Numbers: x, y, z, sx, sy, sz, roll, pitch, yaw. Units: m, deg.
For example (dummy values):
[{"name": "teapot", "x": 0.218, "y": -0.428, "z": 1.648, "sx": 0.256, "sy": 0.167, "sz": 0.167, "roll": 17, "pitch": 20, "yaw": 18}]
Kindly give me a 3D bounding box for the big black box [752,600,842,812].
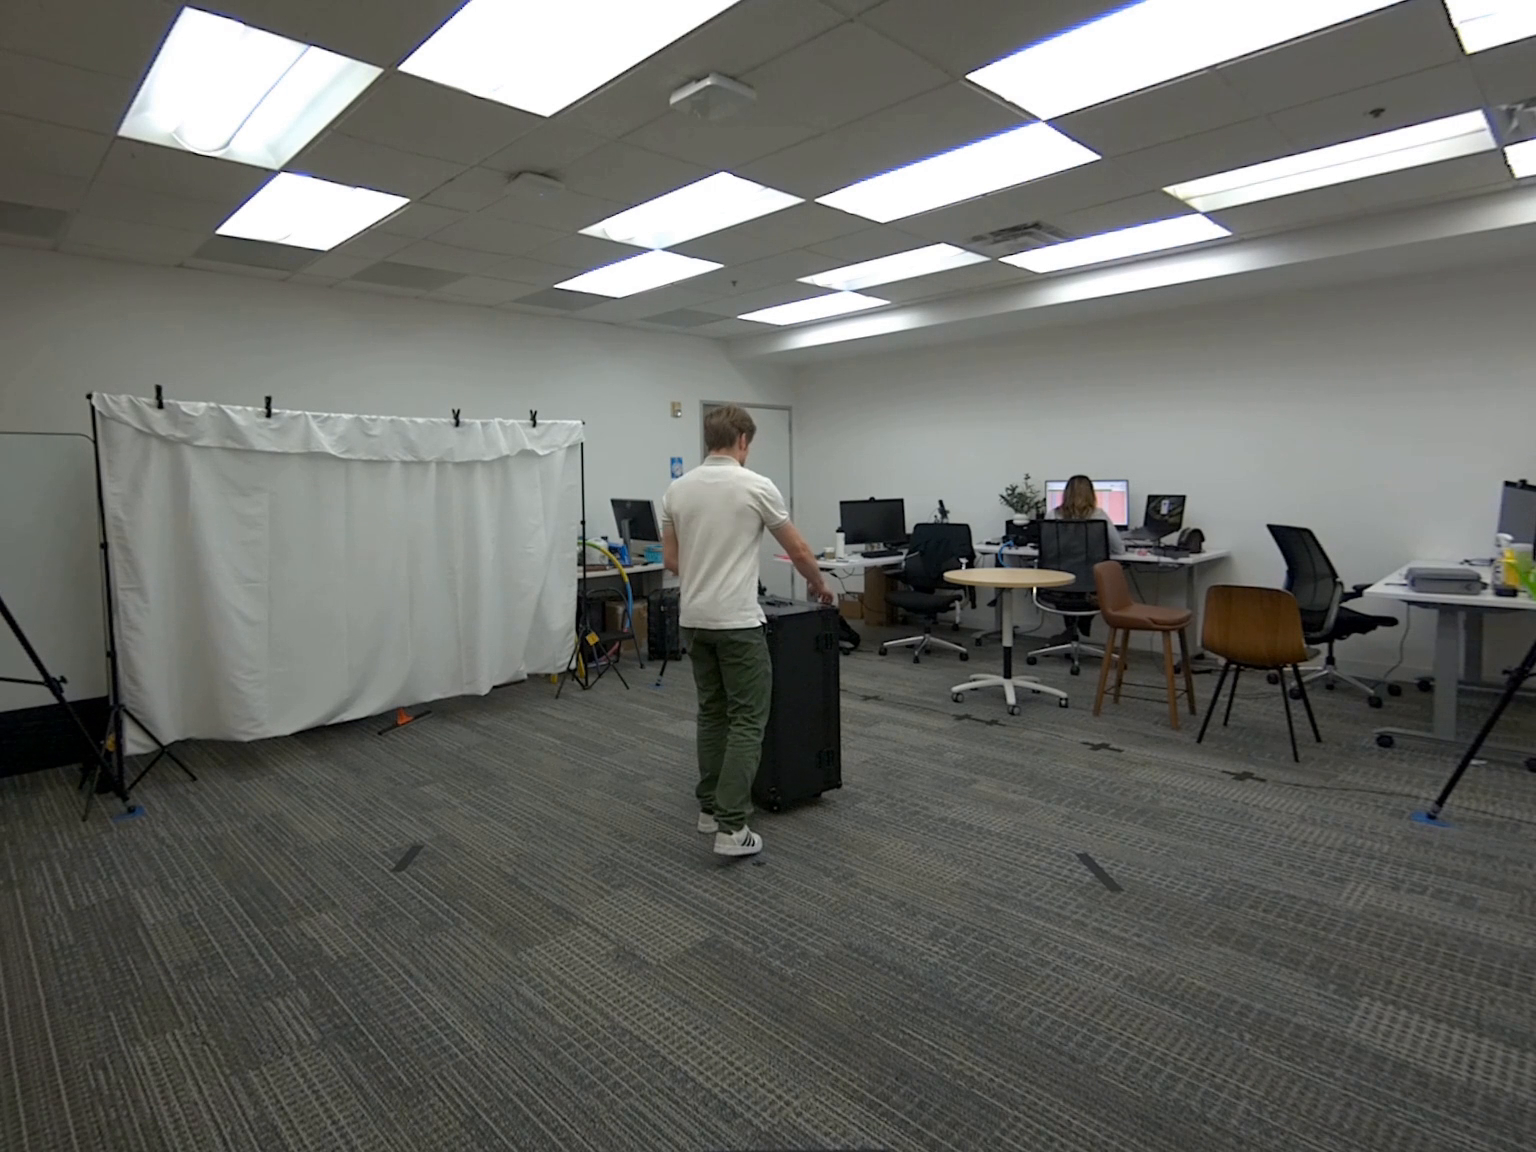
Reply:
[{"name": "big black box", "x": 0.033, "y": 0.554, "z": 3.754, "sx": 0.376, "sy": 0.865, "sz": 0.538, "roll": -4, "pitch": 5, "yaw": -34}]
